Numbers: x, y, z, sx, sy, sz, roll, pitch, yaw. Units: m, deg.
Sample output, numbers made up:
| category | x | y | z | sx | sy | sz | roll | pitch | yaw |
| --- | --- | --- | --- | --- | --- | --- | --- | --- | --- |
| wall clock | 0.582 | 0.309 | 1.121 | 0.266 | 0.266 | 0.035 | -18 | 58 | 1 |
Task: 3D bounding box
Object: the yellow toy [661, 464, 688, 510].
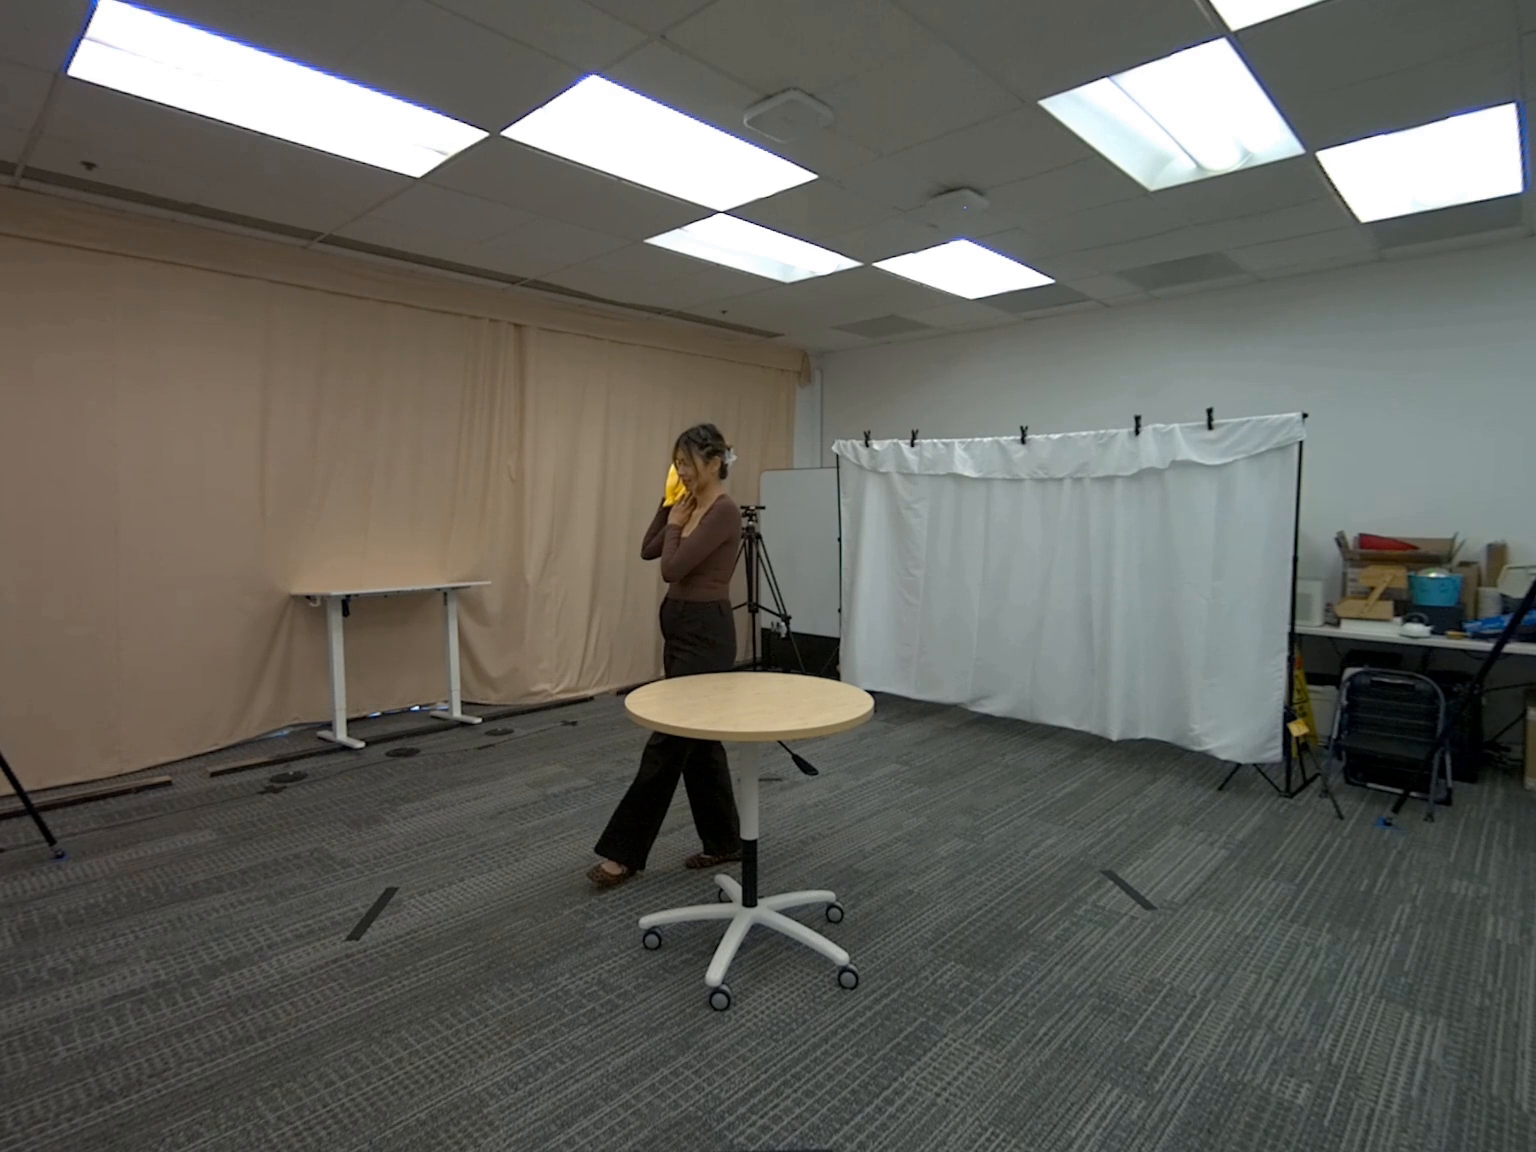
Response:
| category | x | y | z | sx | sy | sz | roll | pitch | yaw |
| --- | --- | --- | --- | --- | --- | --- | --- | --- | --- |
| yellow toy | -0.331 | -0.412 | 3.335 | 0.189 | 0.231 | 0.209 | -11 | 0 | -28 |
